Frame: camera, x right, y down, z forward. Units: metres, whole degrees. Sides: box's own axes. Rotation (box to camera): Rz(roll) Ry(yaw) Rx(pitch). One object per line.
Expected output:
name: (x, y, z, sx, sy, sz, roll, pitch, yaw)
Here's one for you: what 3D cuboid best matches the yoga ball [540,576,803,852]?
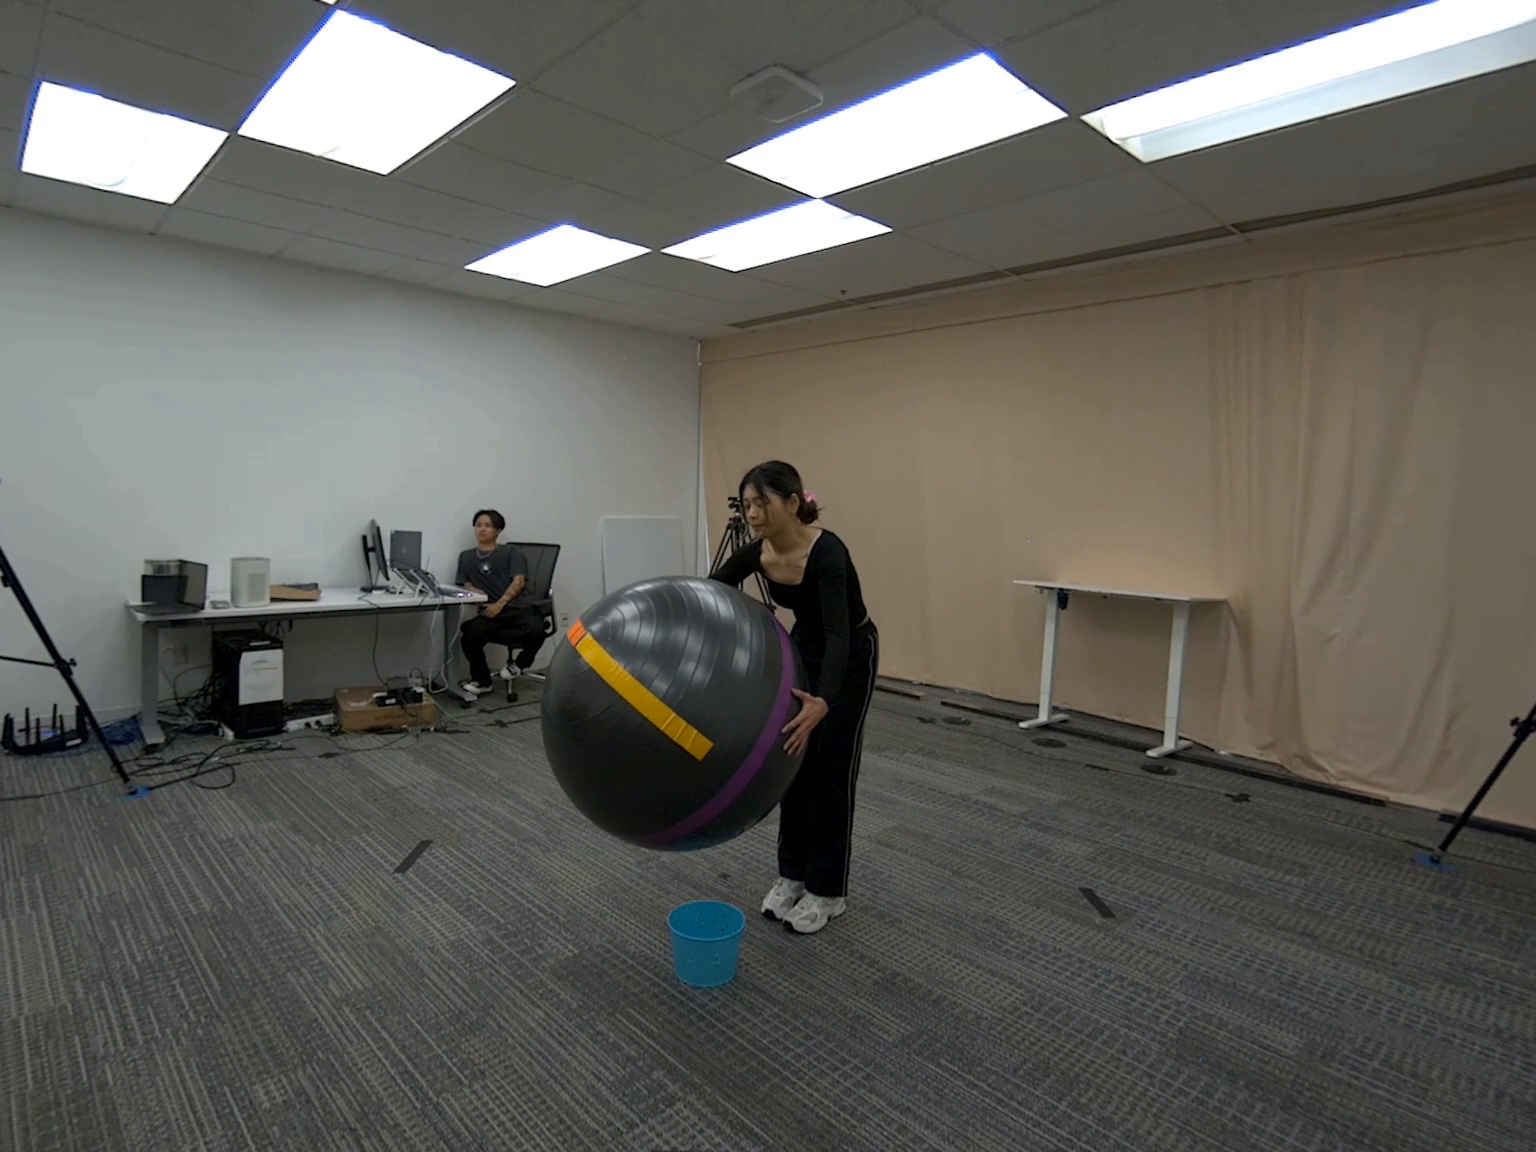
yoga ball: (-0.263, 0.390, 2.368, 0.757, 0.756, 0.761, 1, 4, -1)
